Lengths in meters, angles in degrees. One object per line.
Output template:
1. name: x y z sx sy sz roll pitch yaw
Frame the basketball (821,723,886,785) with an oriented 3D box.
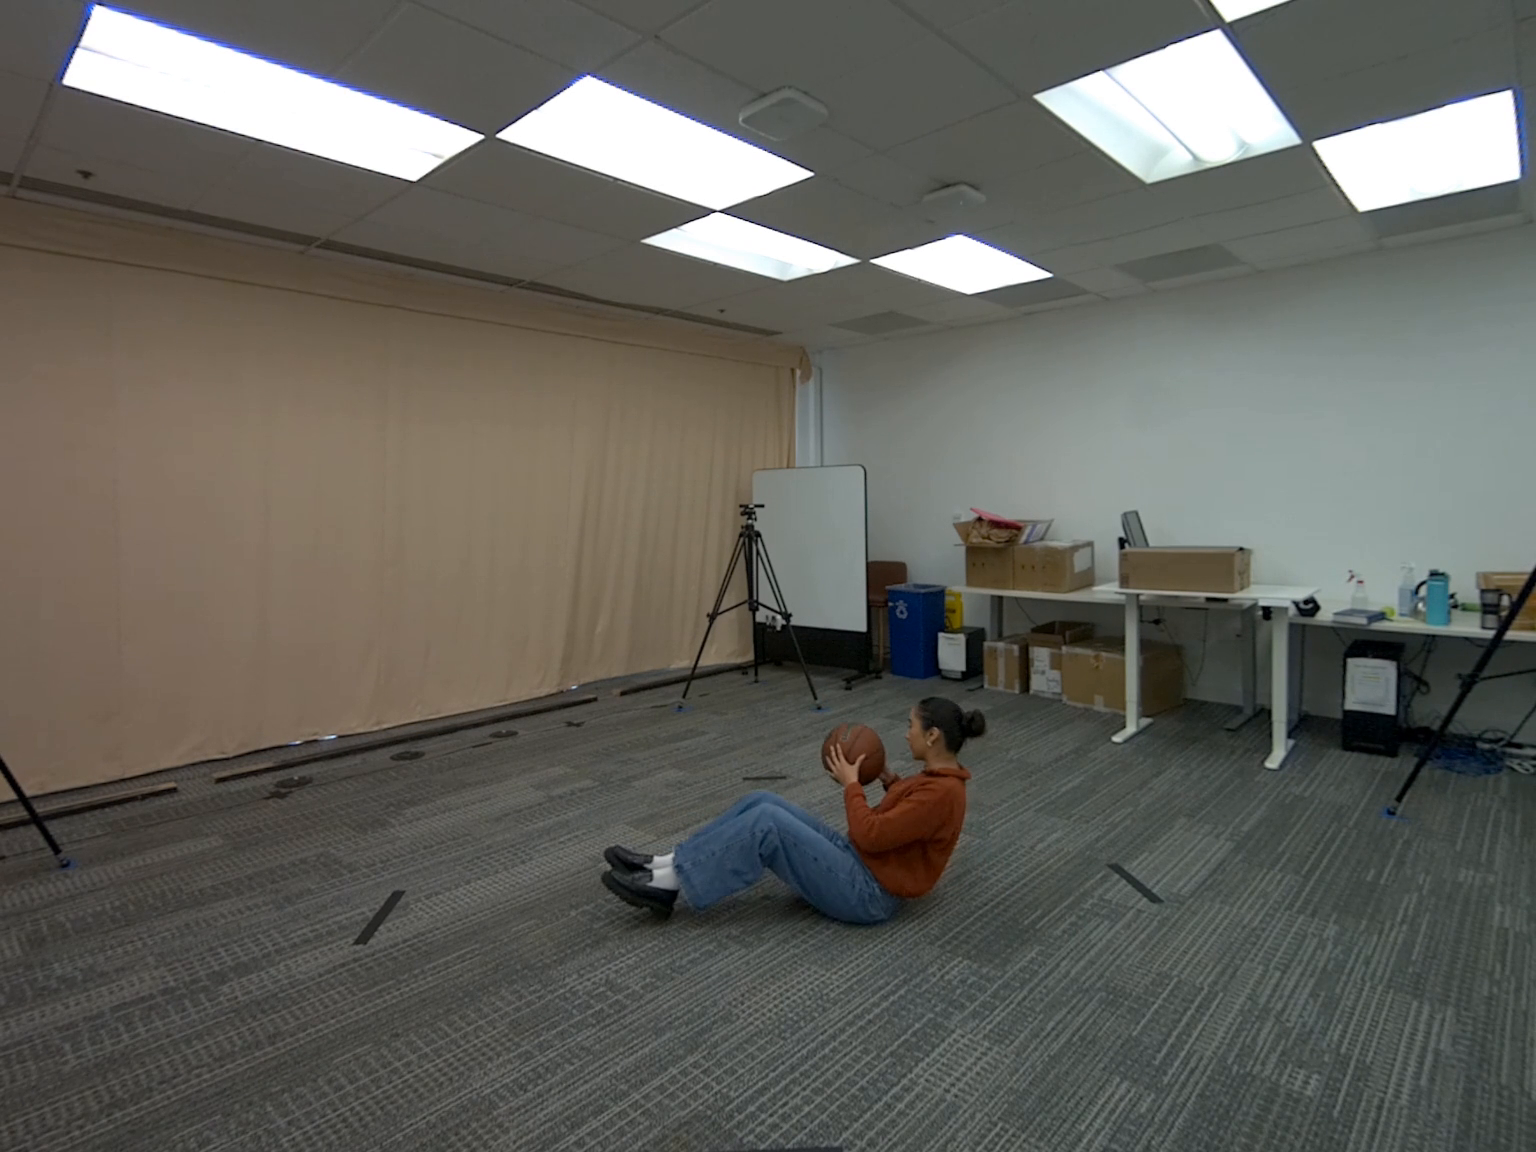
1. basketball: 0.324 0.689 3.126 0.236 0.235 0.237 -1 4 -2
